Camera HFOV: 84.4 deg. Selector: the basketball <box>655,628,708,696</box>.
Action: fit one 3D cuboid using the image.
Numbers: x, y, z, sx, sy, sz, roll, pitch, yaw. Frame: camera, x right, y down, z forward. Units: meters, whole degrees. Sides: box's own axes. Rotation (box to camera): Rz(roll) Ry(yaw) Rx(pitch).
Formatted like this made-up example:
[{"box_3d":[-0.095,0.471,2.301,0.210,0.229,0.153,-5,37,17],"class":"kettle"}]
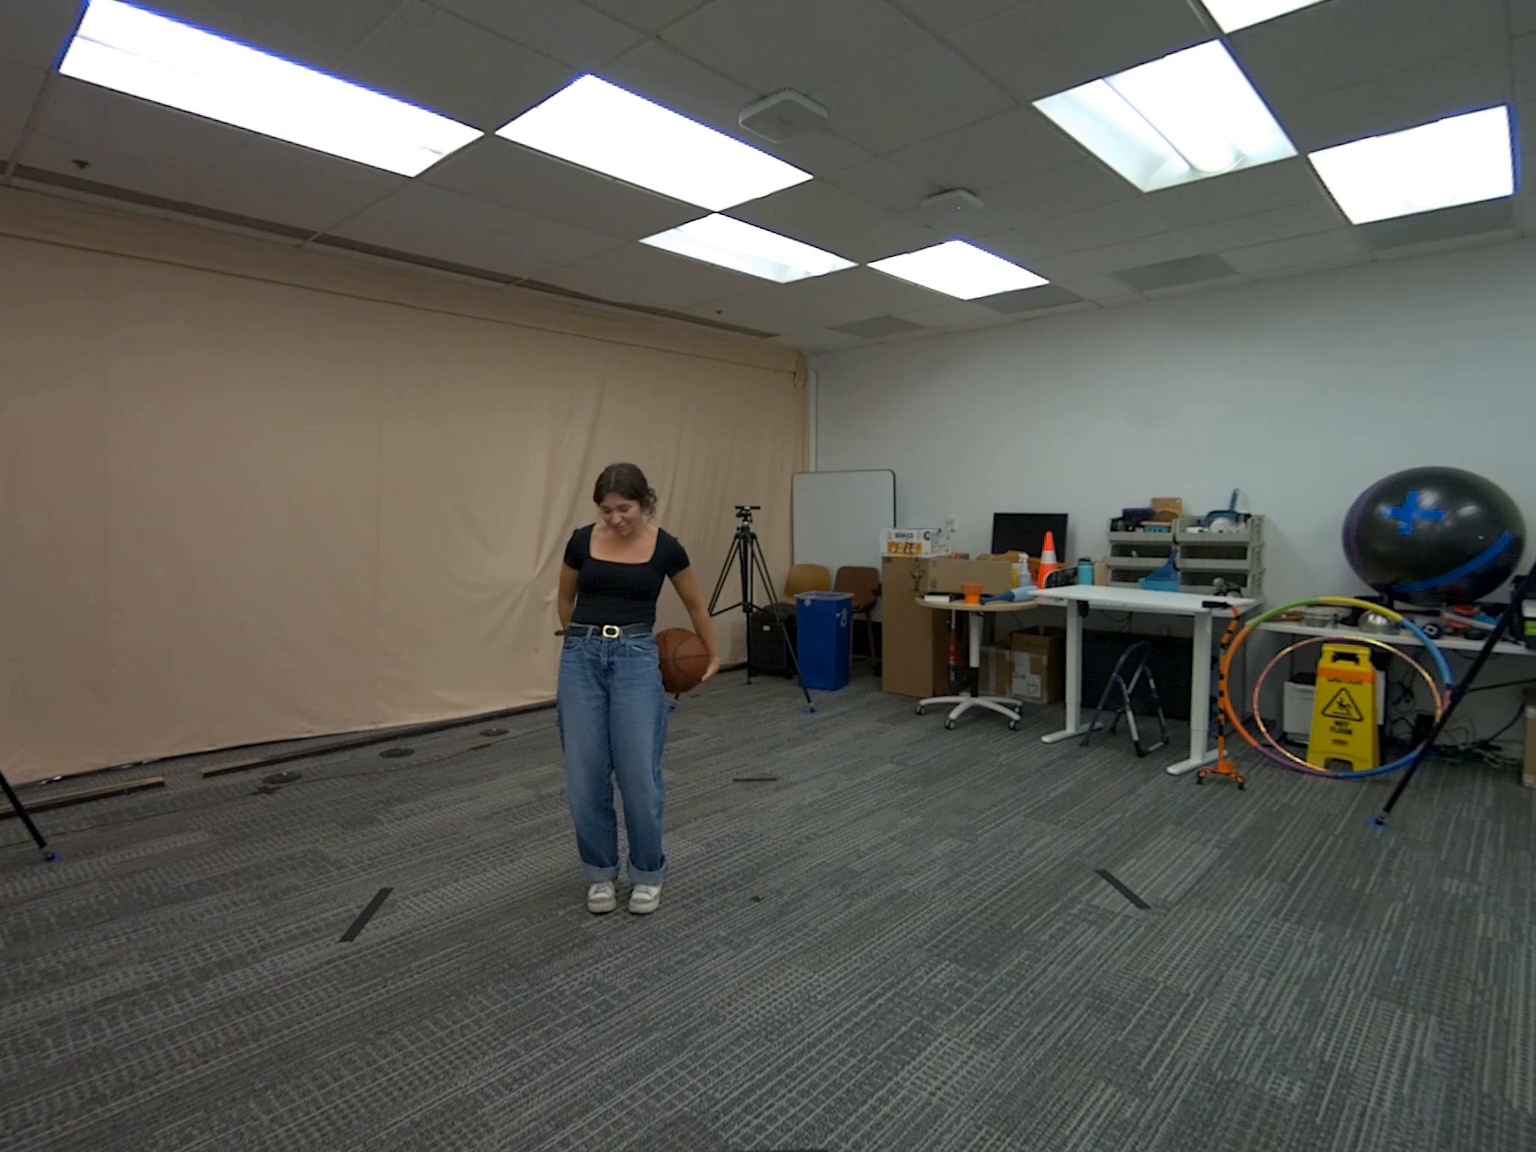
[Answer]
[{"box_3d":[-0.347,0.302,3.080,0.236,0.235,0.237,0,4,-2],"class":"basketball"}]
